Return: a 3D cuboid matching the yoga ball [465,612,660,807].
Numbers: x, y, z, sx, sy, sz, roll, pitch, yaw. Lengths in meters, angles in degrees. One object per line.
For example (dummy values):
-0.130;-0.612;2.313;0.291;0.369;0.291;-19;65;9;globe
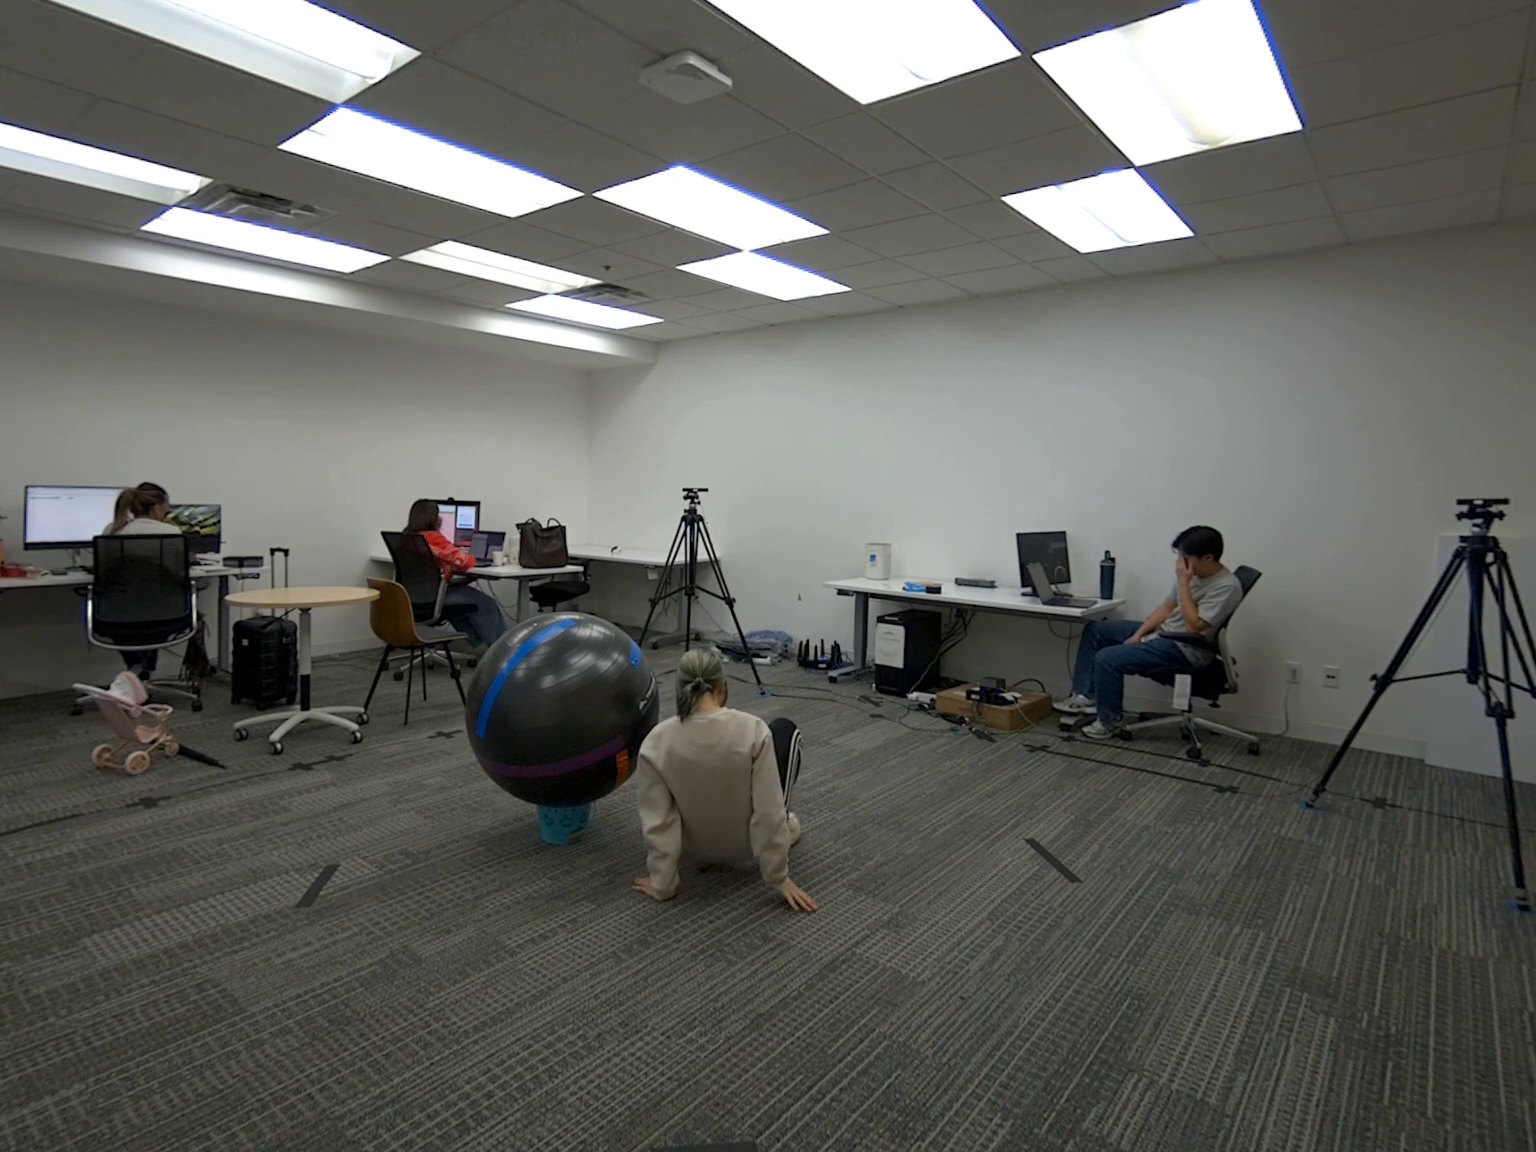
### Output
-0.827;0.525;3.374;0.757;0.756;0.761;1;4;-2;yoga ball
